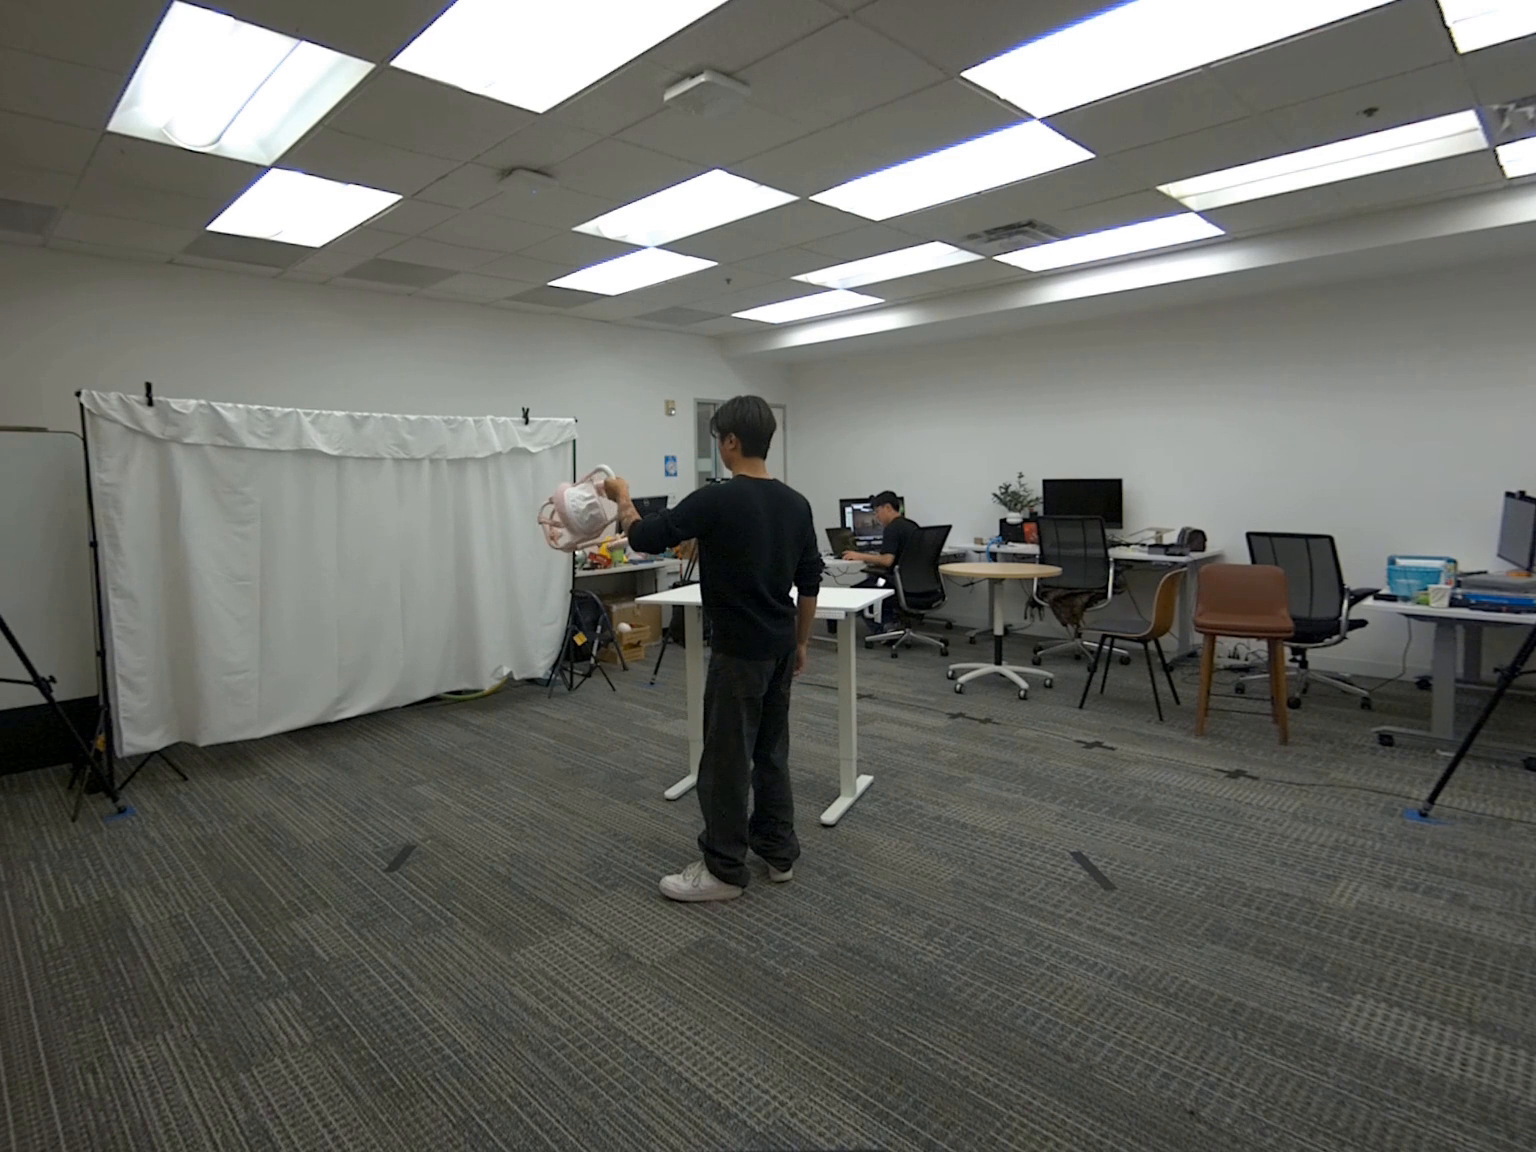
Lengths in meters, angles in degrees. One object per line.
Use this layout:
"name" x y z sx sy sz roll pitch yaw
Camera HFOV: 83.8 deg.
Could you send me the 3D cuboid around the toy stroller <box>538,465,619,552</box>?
"toy stroller" -0.713 -0.238 3.259 0.340 0.283 0.534 -16 -4 -7
